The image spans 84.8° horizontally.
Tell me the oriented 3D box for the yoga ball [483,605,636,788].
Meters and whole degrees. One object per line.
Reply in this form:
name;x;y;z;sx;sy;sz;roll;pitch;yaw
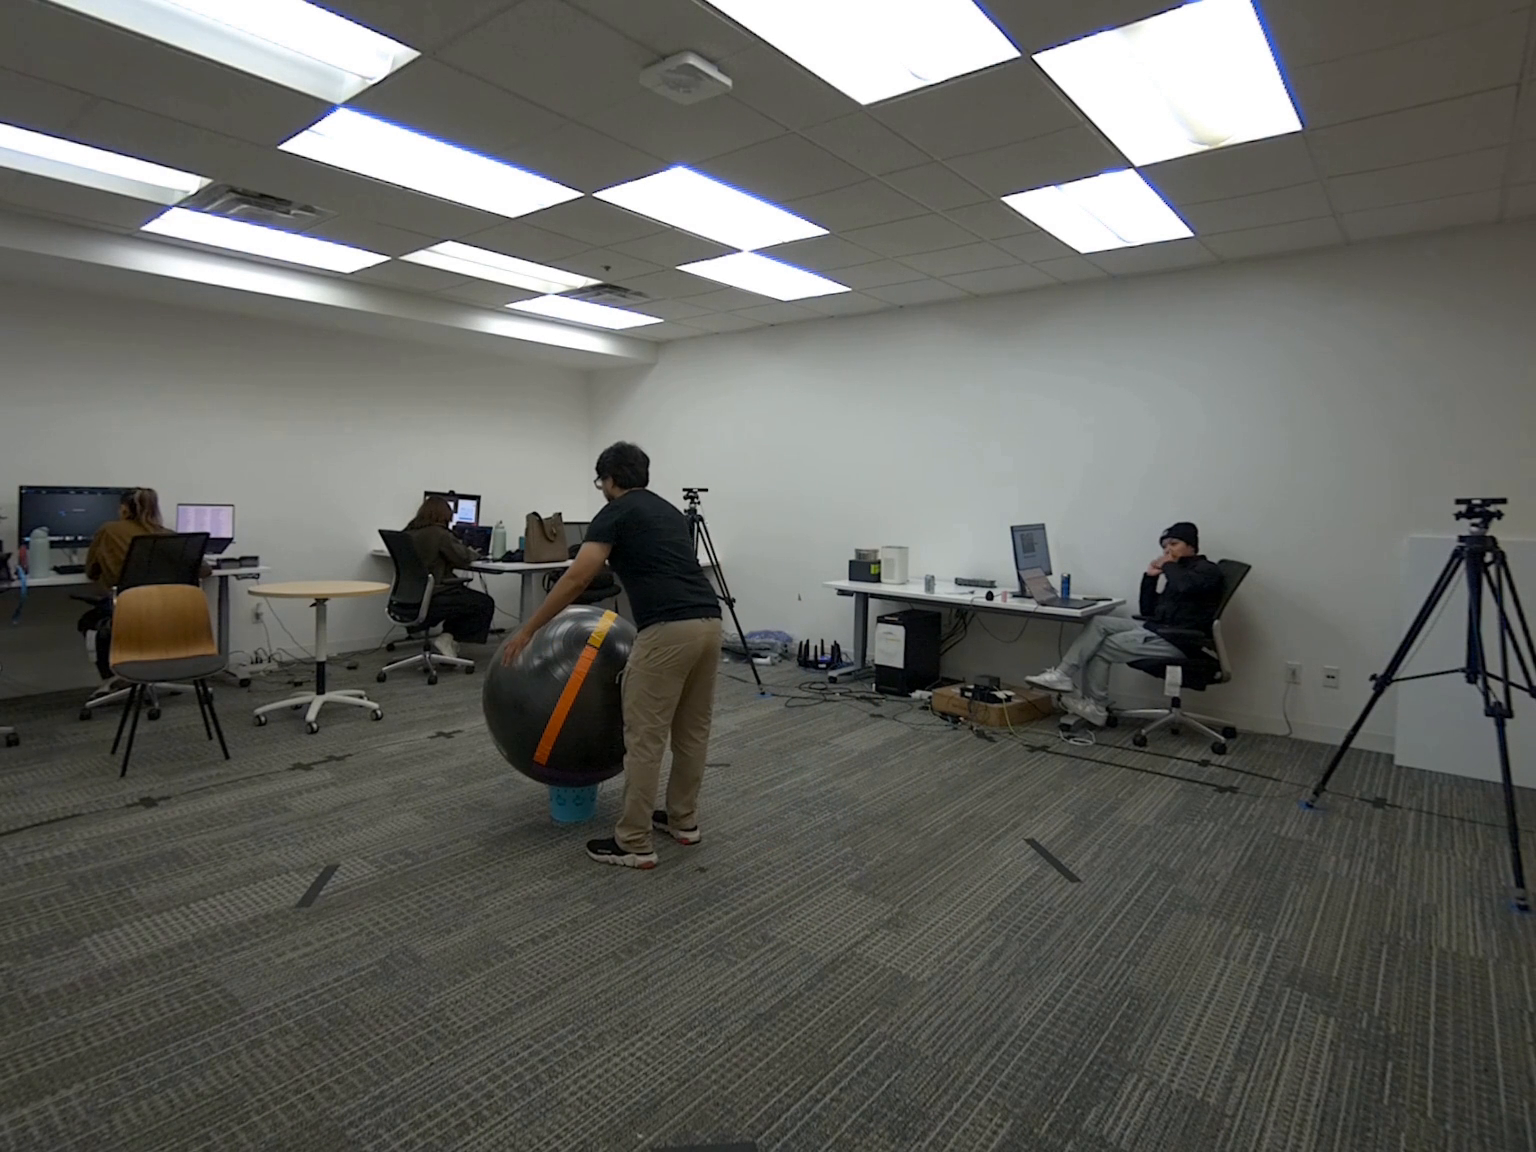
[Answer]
yoga ball;-0.827;0.511;3.597;0.757;0.755;0.762;1;4;-2
